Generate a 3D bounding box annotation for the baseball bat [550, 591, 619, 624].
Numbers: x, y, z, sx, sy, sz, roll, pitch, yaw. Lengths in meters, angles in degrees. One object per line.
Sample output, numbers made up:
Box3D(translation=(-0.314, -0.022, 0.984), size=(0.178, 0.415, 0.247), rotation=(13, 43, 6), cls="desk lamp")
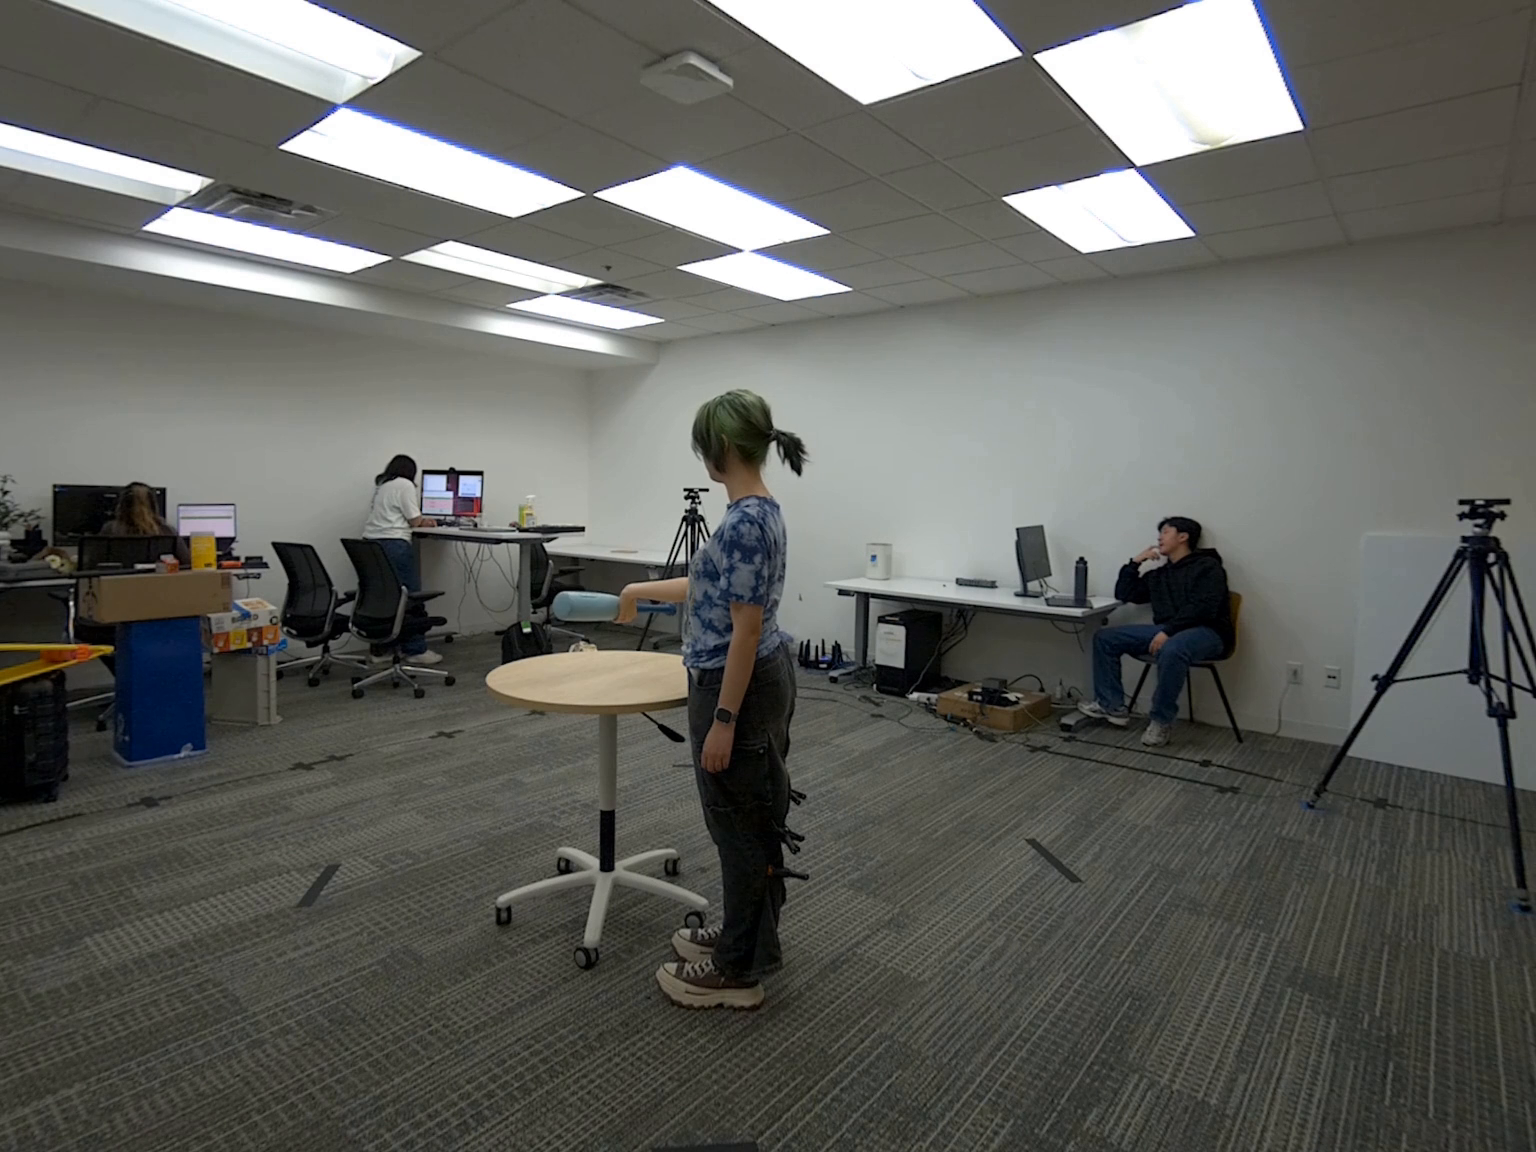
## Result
Box3D(translation=(-0.507, 0.100, 2.756), size=(0.092, 0.089, 0.525), rotation=(3, -1, 33), cls="baseball bat")
